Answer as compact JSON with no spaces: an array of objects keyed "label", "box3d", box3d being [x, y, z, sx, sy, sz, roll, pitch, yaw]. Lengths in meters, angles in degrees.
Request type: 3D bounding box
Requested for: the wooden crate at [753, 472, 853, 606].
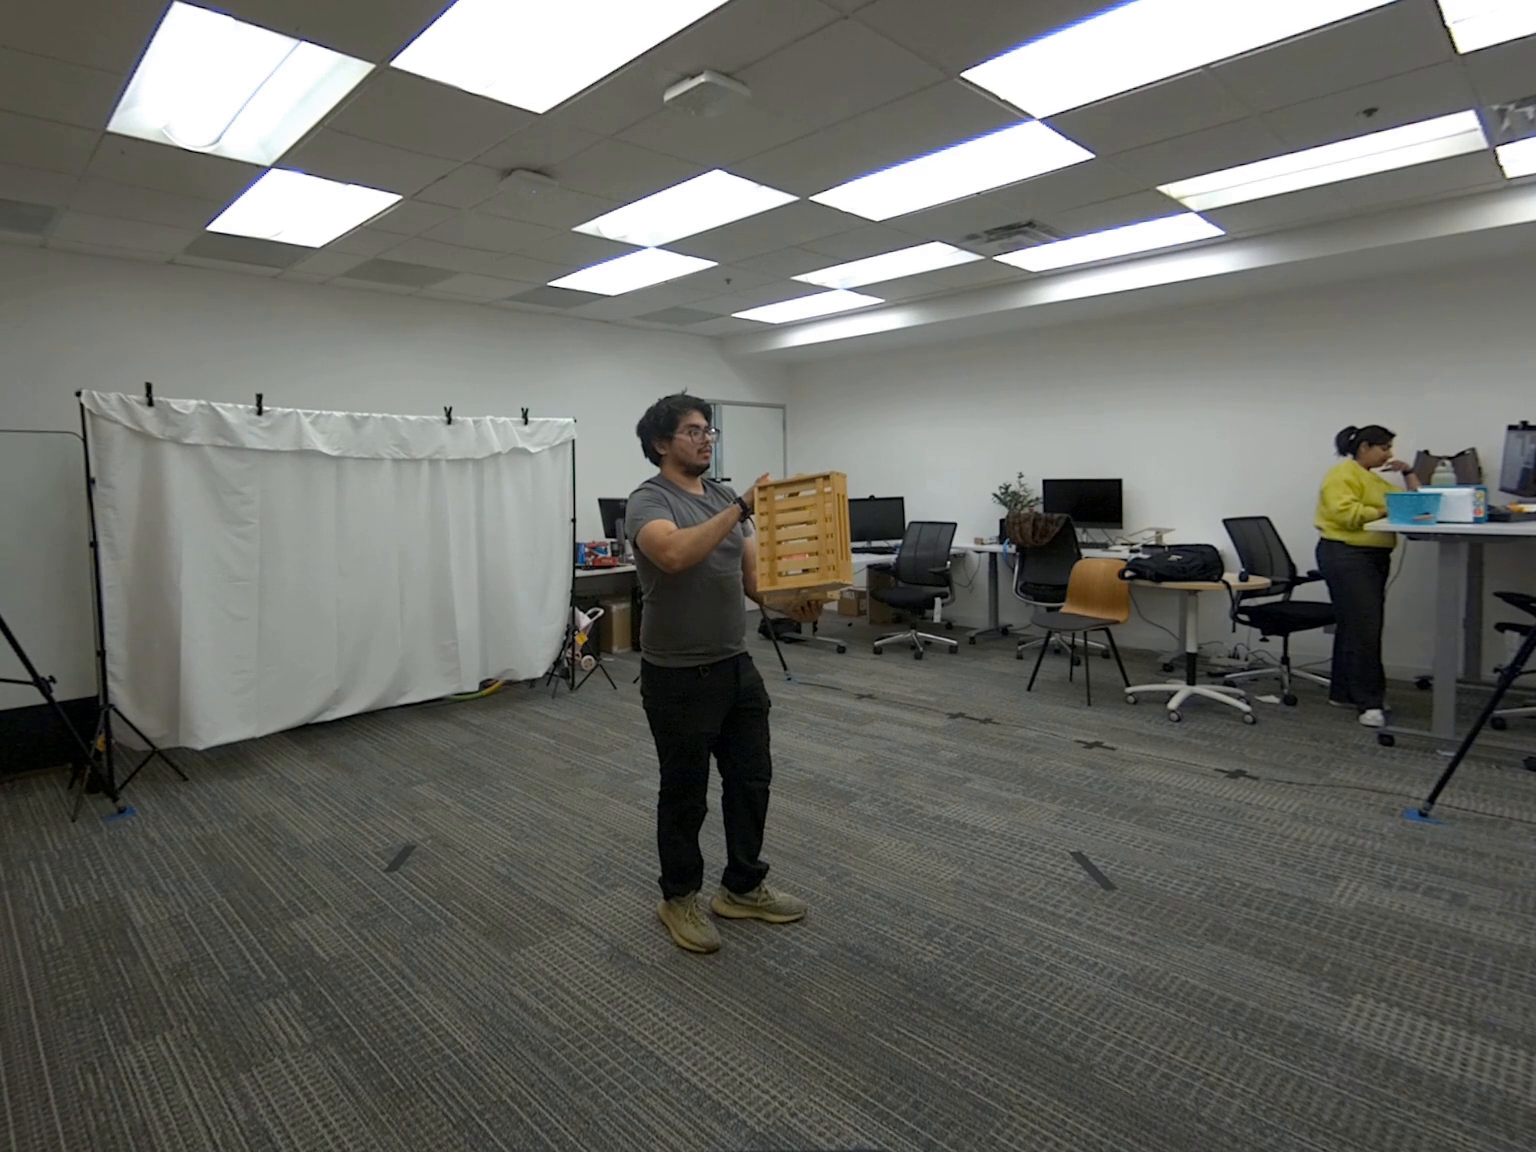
[{"label":"wooden crate","box3d":[0.110,-0.089,2.371,0.307,0.329,0.264,-8,-16,23]}]
